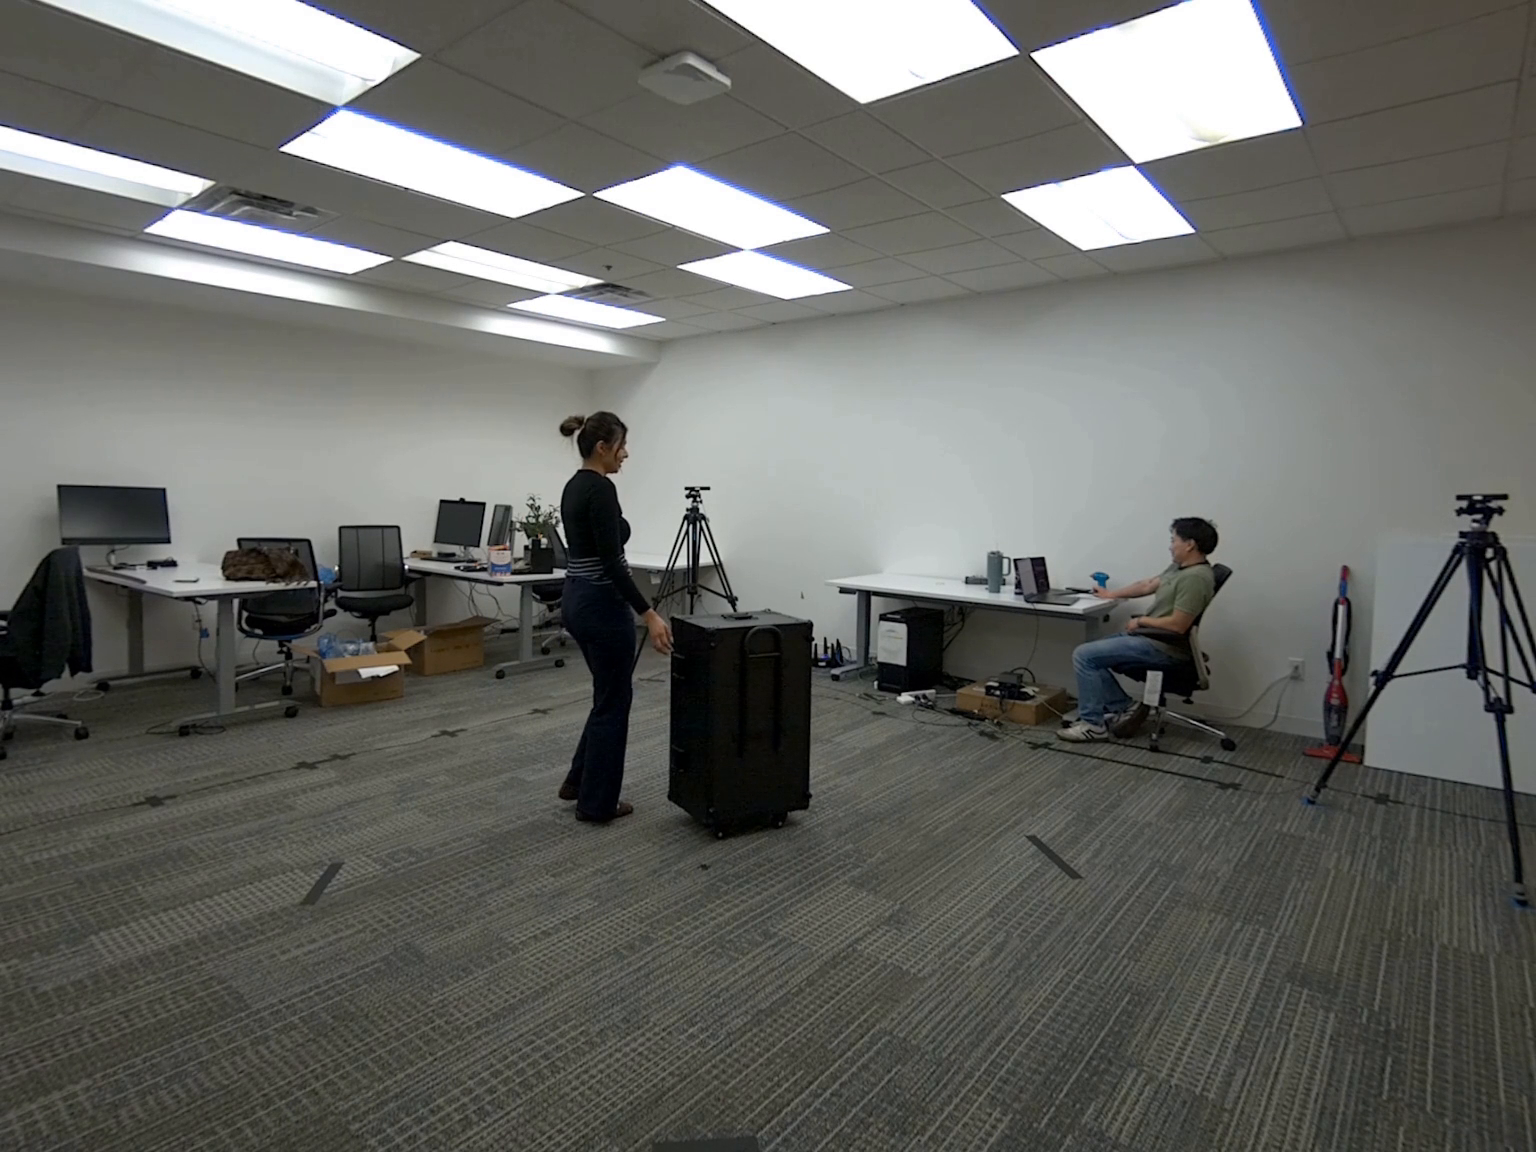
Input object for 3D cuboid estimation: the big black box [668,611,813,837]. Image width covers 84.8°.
[{"bbox_3d":[-0.119,0.596,3.534,0.507,0.858,0.408,-1,4,-30],"label":"big black box"}]
